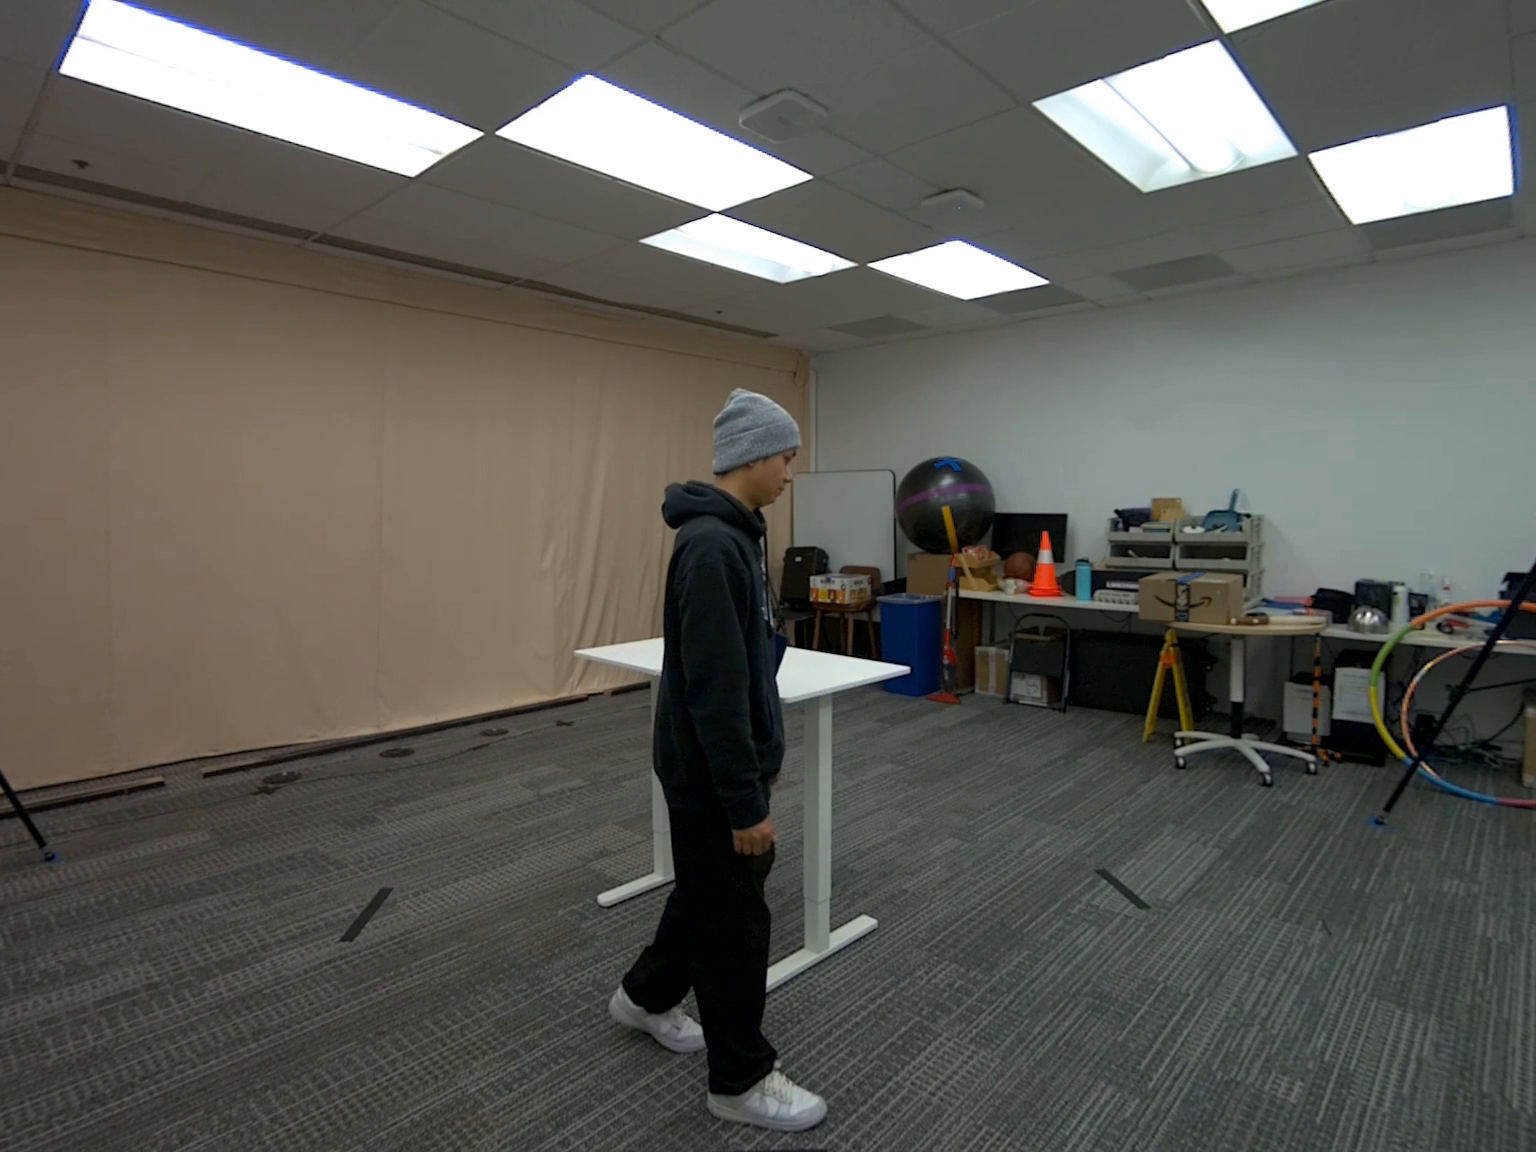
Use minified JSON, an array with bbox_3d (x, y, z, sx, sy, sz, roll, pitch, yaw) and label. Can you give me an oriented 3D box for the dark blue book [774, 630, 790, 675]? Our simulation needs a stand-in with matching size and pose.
[{"bbox_3d":[-0.068,0.180,2.141,0.249,0.163,0.044,21,2,14],"label":"dark blue book"}]
